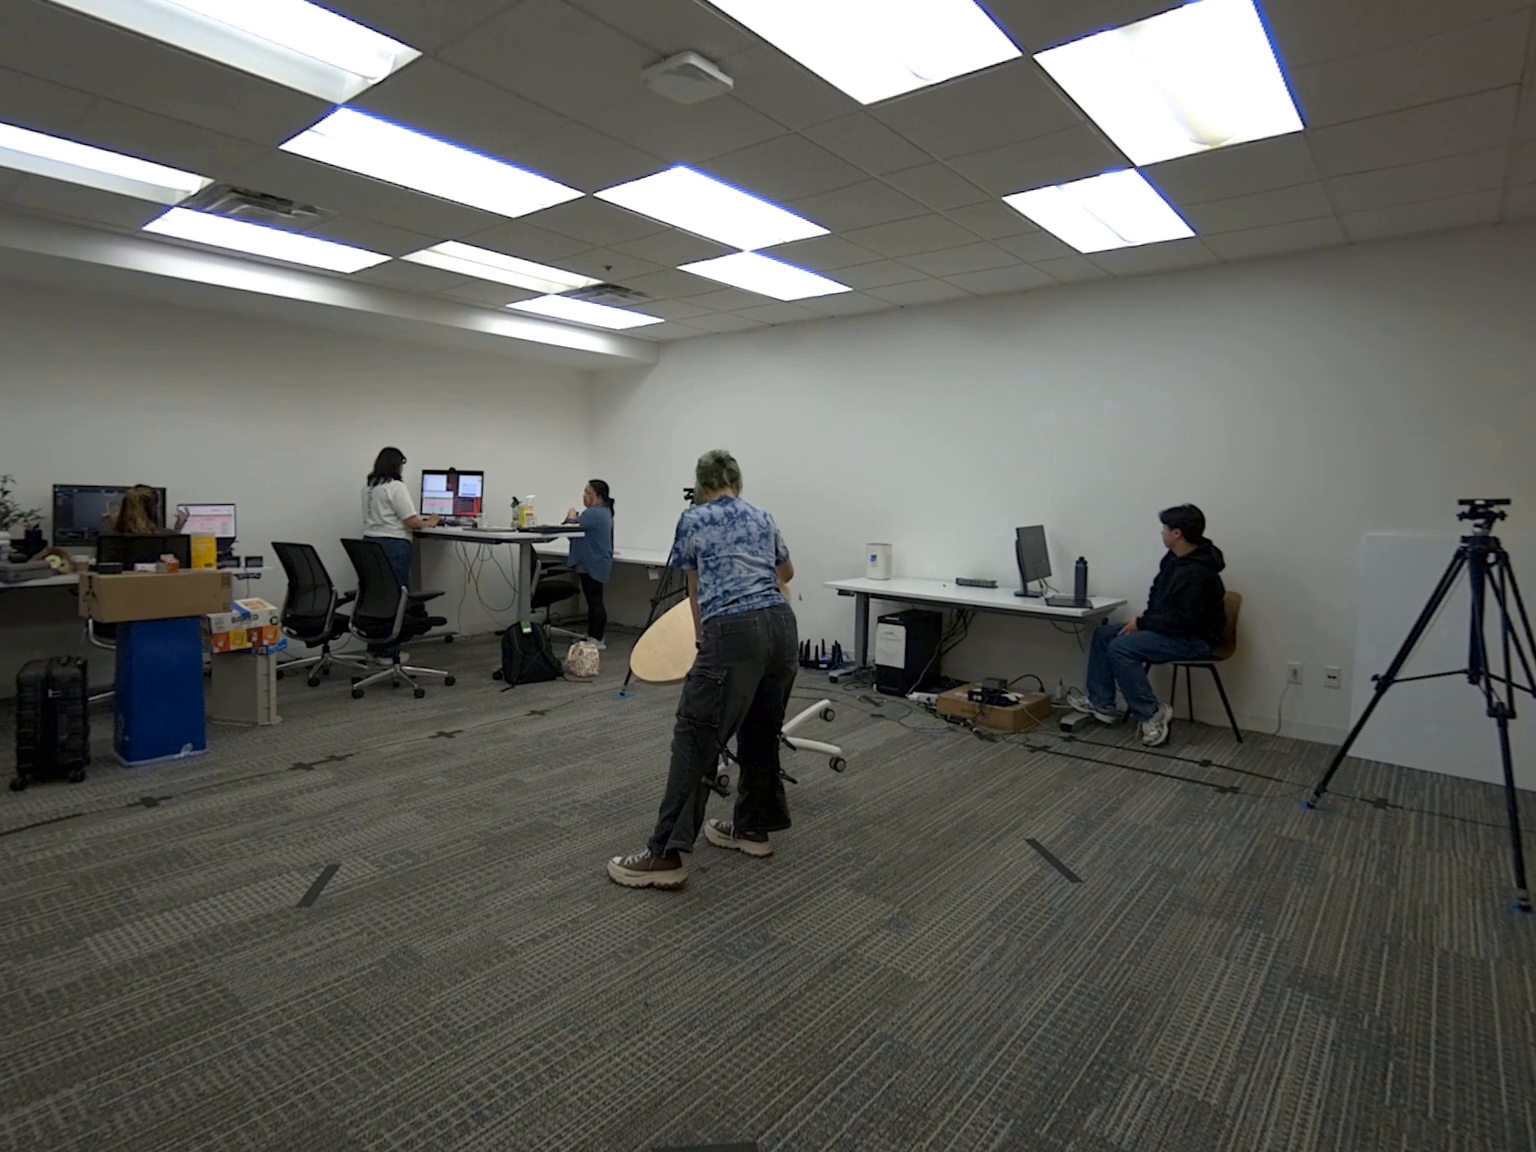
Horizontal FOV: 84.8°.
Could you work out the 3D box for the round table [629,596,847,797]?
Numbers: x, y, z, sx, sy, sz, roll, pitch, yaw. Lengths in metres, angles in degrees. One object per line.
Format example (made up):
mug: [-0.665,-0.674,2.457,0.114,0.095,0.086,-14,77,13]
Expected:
round table: [-0.098,0.527,3.822,0.767,0.774,0.780,-24,21,8]
